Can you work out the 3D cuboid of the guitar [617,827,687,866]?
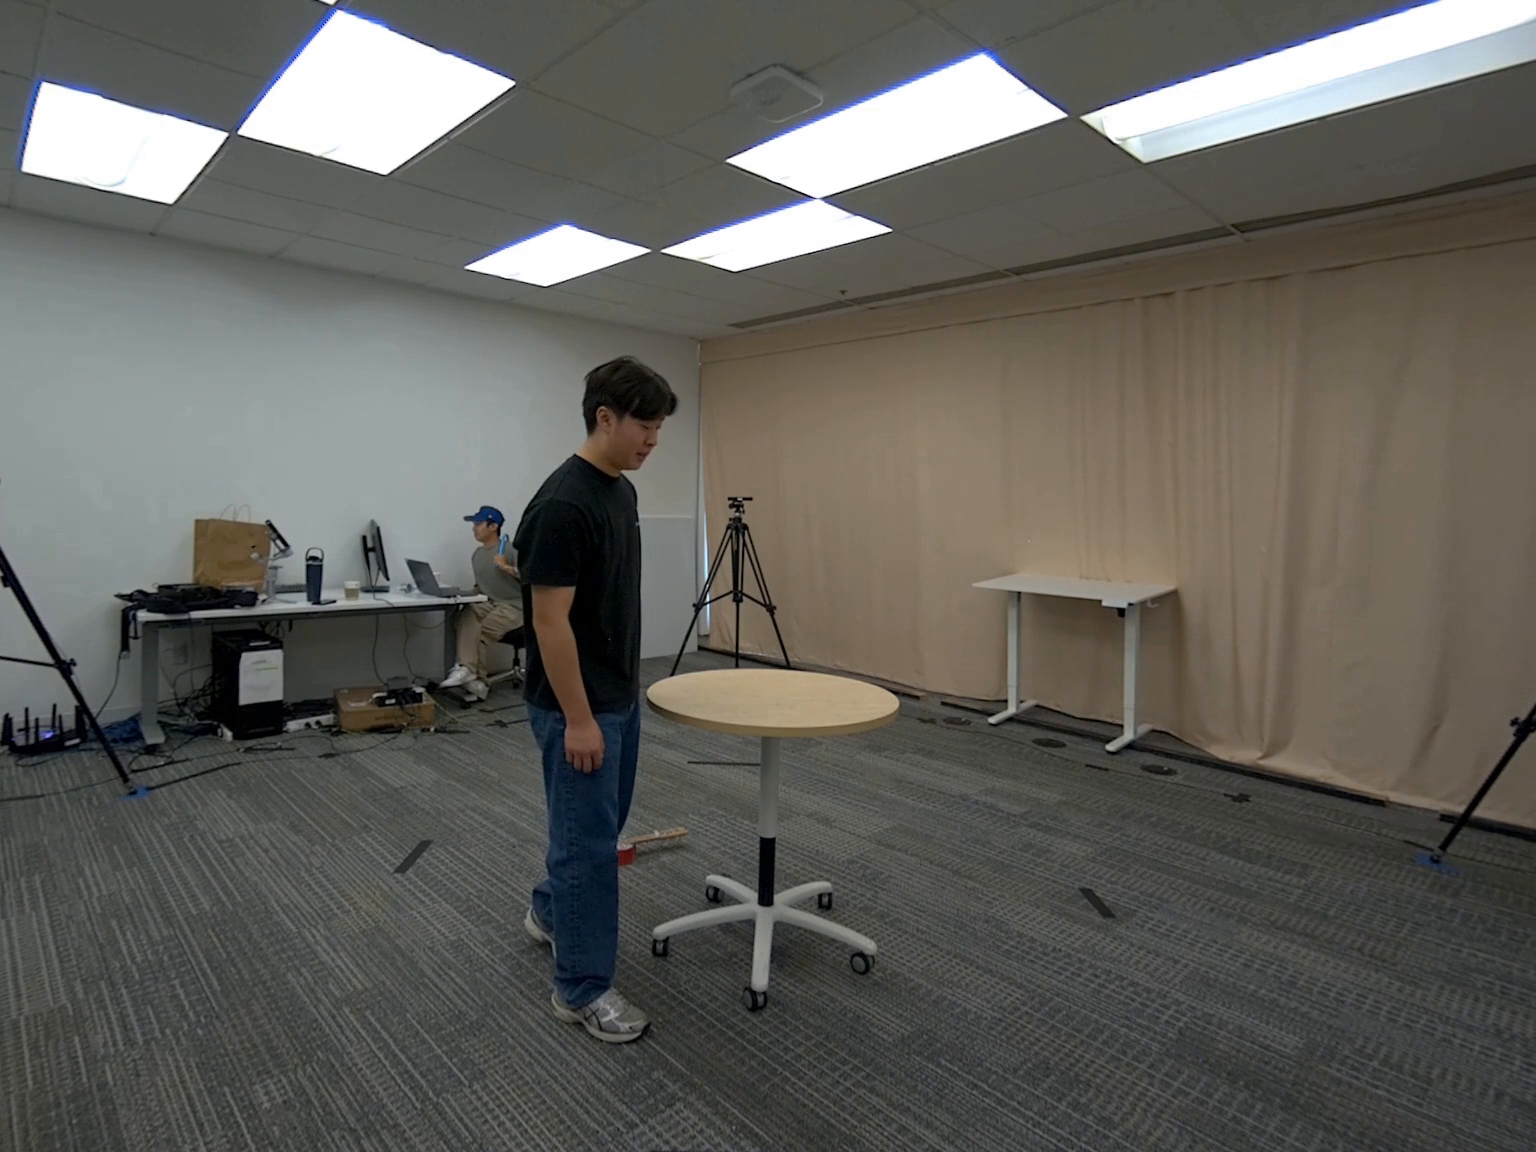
[{"bbox_3d":[-0.540,1.055,3.233,0.491,0.070,0.196,-1,5,-18],"label":"guitar"}]
